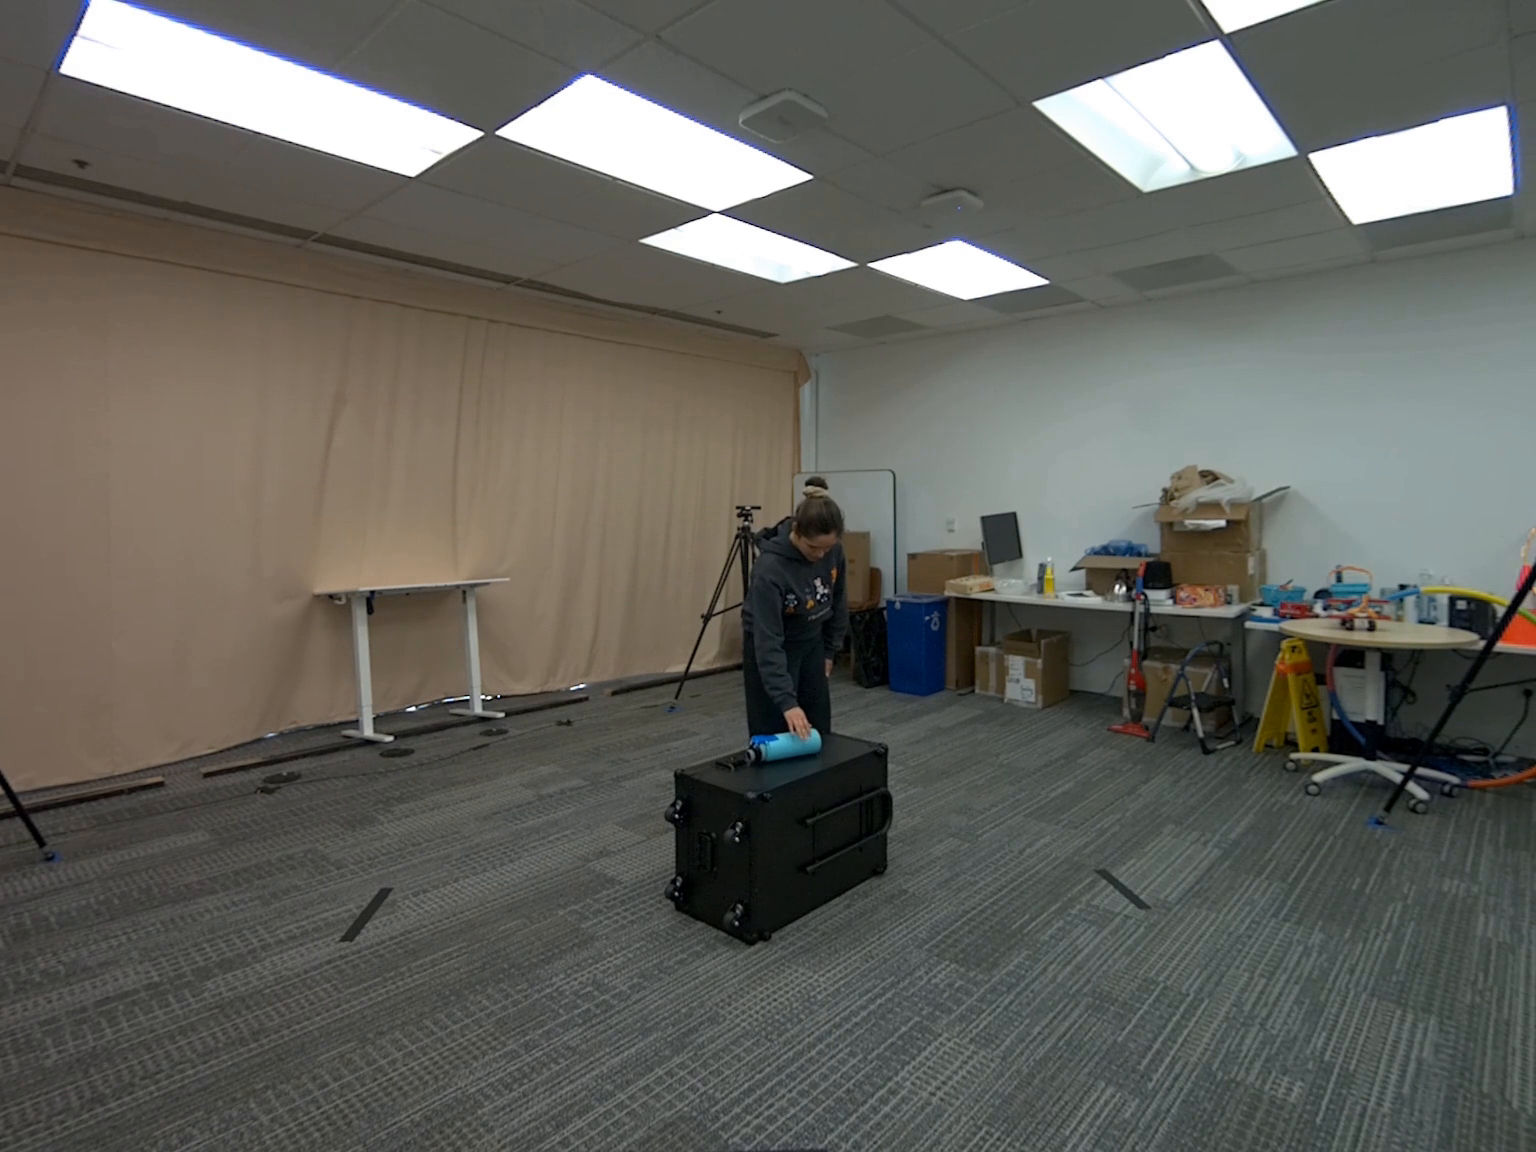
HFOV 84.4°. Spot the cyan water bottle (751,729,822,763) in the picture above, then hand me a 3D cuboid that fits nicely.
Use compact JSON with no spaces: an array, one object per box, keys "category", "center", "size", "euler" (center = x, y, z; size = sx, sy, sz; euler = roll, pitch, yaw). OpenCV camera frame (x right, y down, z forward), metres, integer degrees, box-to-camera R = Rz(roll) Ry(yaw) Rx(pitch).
[{"category":"cyan water bottle","center":[0.067,0.602,3.029],"size":[0.276,0.092,0.095],"euler":[-5,6,-29]}]
